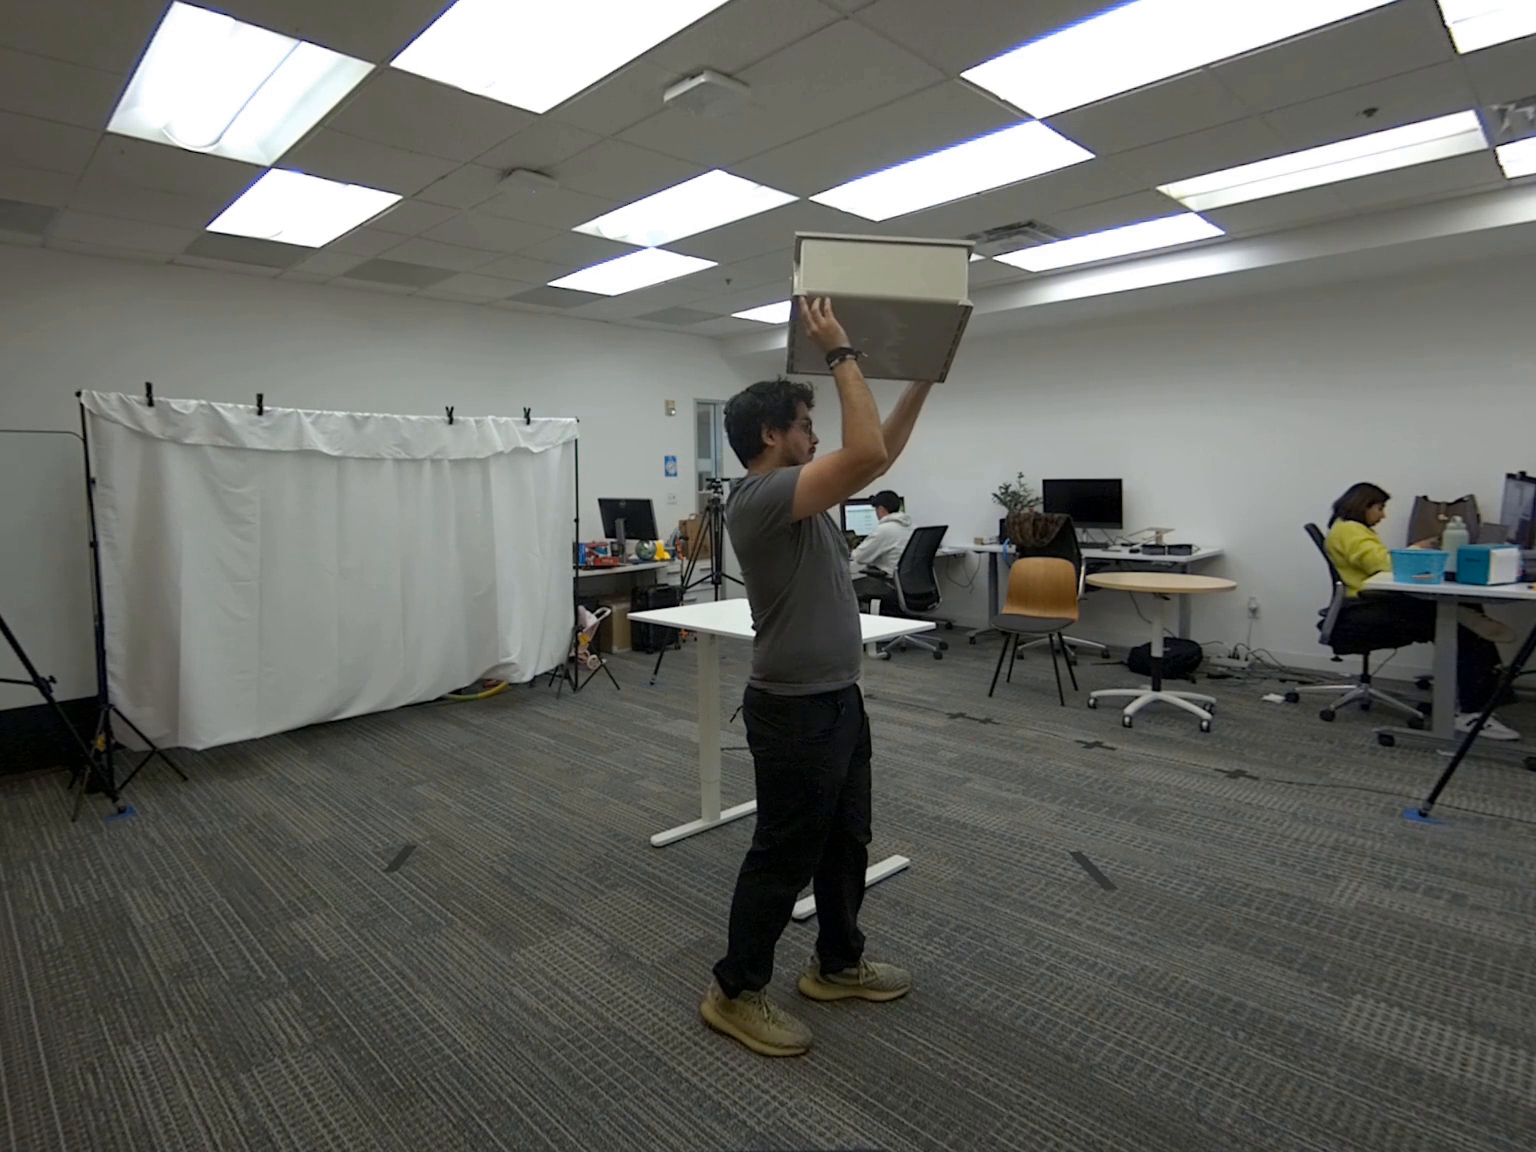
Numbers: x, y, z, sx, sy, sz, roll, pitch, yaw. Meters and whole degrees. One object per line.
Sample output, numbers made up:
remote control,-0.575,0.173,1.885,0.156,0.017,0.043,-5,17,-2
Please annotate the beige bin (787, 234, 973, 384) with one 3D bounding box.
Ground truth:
beige bin,0.263,-0.647,2.148,0.423,0.192,0.370,5,-22,1
